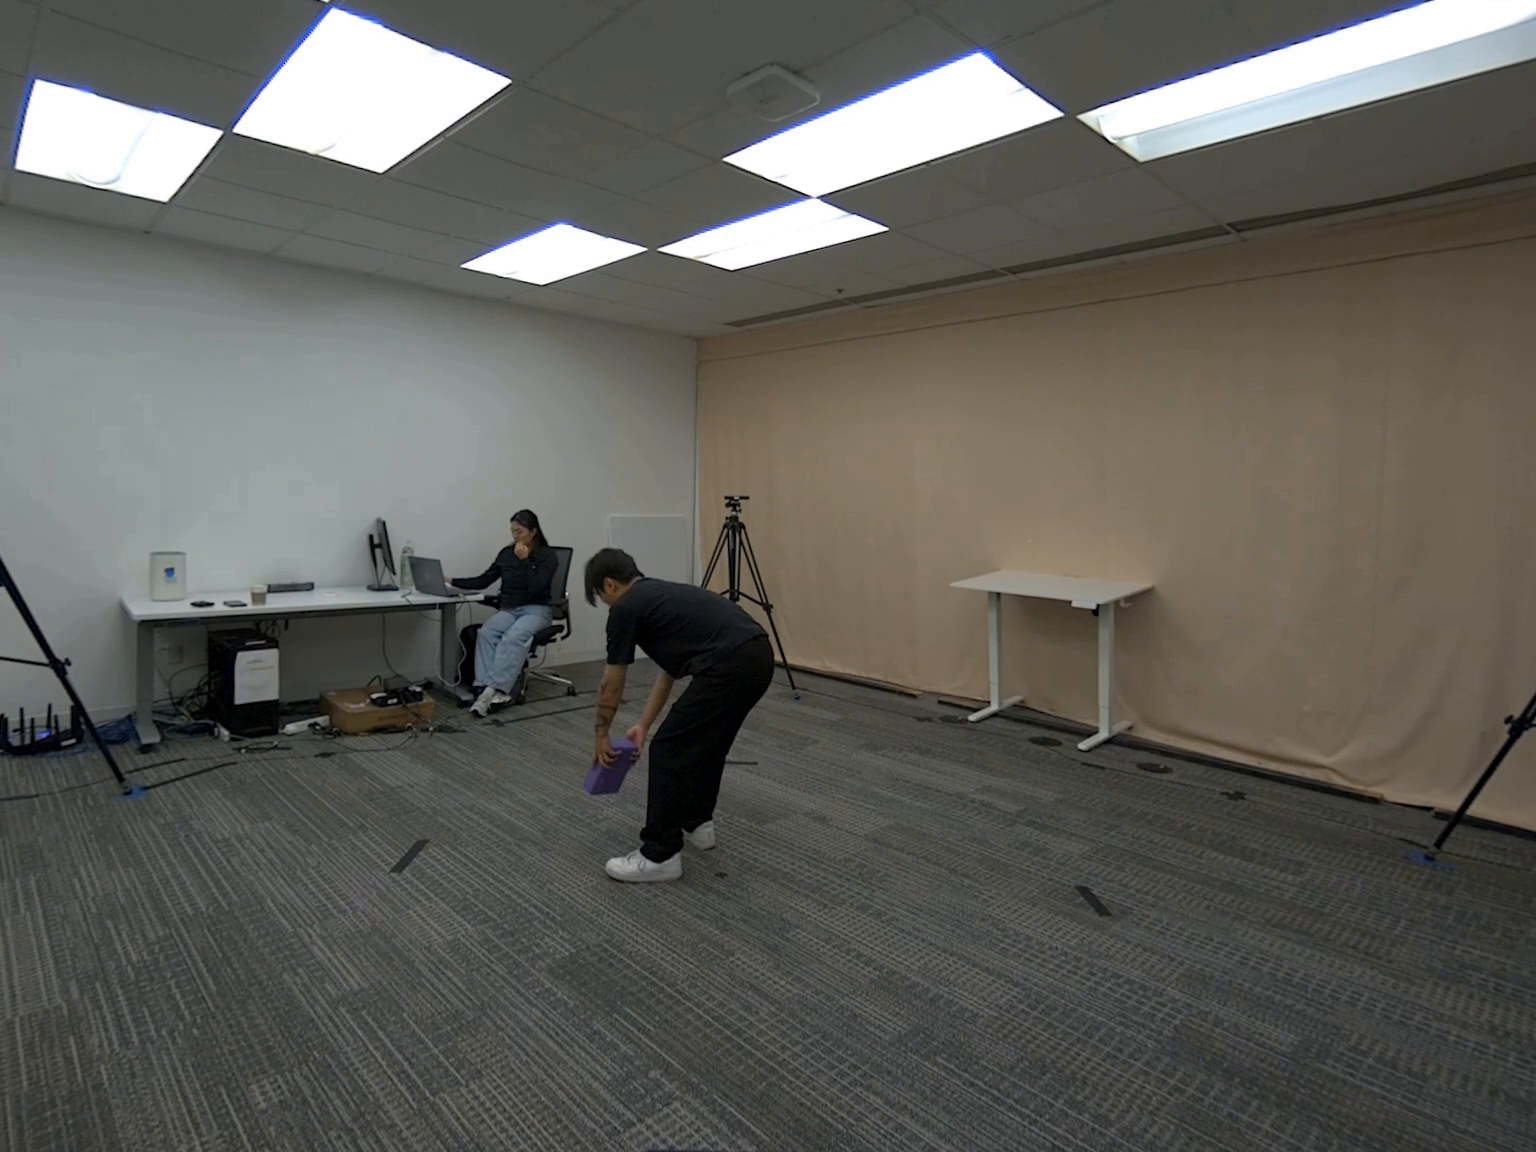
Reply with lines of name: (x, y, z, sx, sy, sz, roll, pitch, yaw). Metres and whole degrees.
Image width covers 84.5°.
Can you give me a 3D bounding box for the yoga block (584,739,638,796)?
yoga block: (-0.647, 0.761, 3.416, 0.079, 0.228, 0.145, 28, 13, 37)
